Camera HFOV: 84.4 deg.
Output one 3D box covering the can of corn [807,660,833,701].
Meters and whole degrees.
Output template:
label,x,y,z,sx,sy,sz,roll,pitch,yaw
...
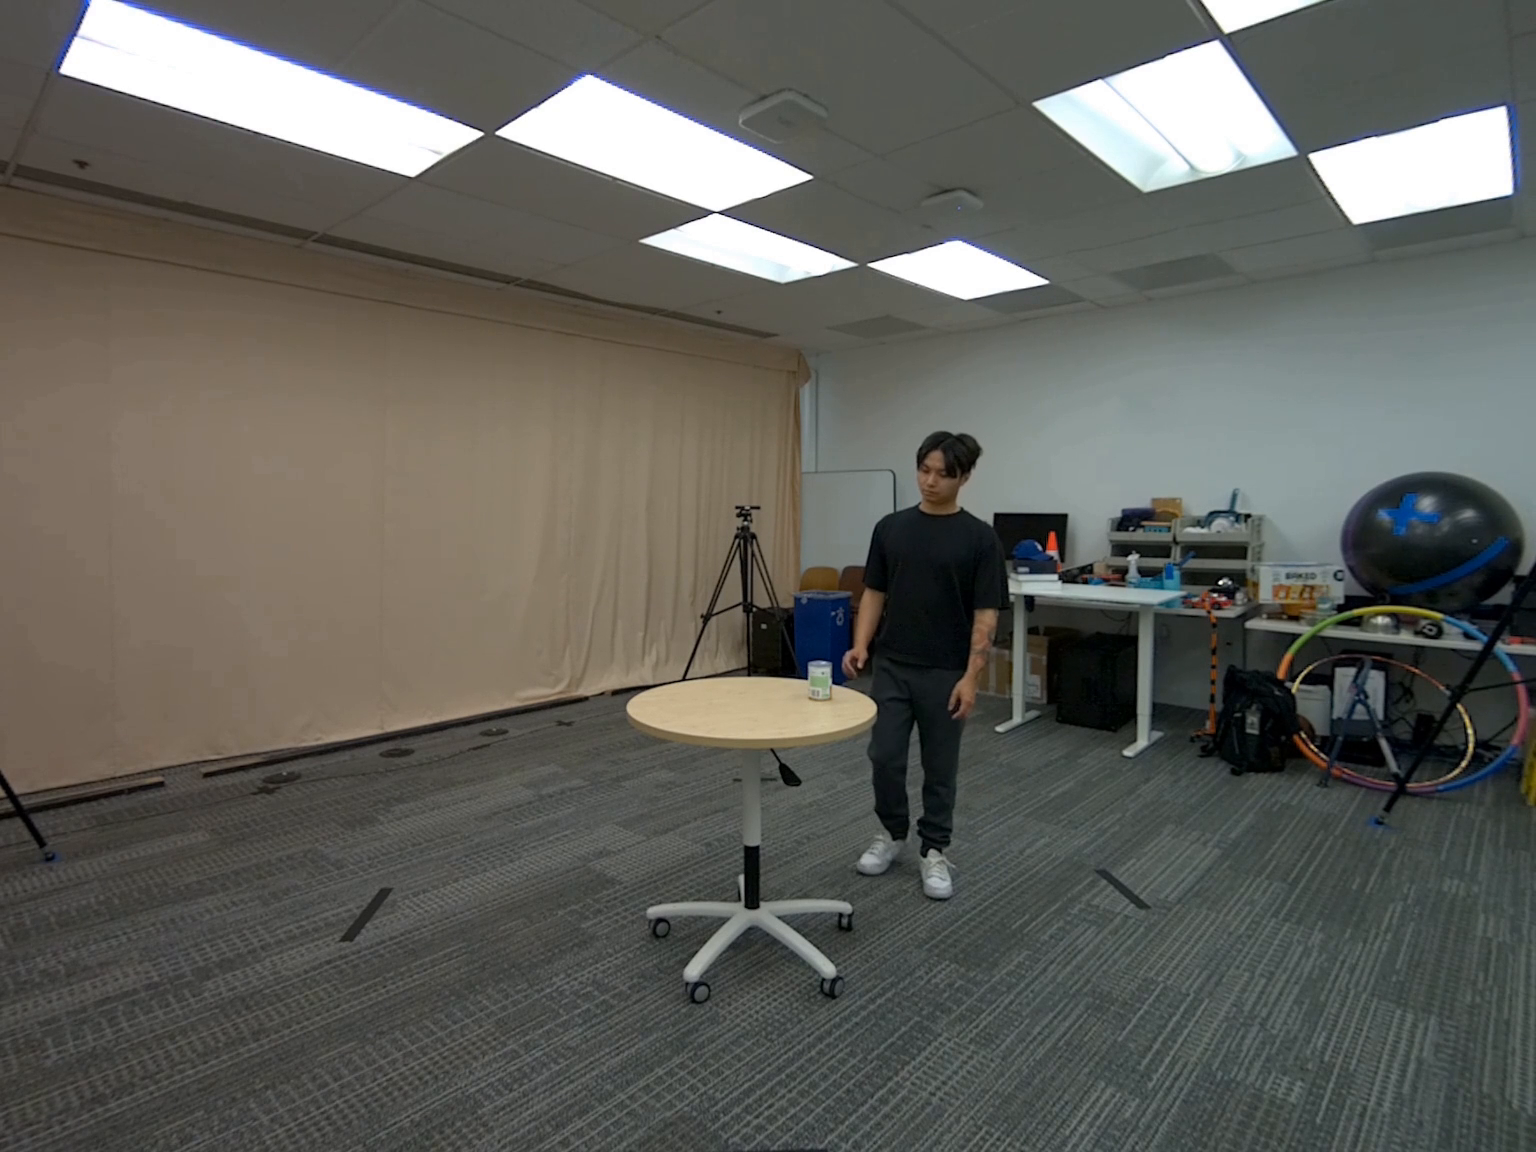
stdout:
label,x,y,z,sx,sy,sz,roll,pitch,yaw
can of corn,0.171,0.333,2.647,0.074,0.111,0.074,1,3,-2
